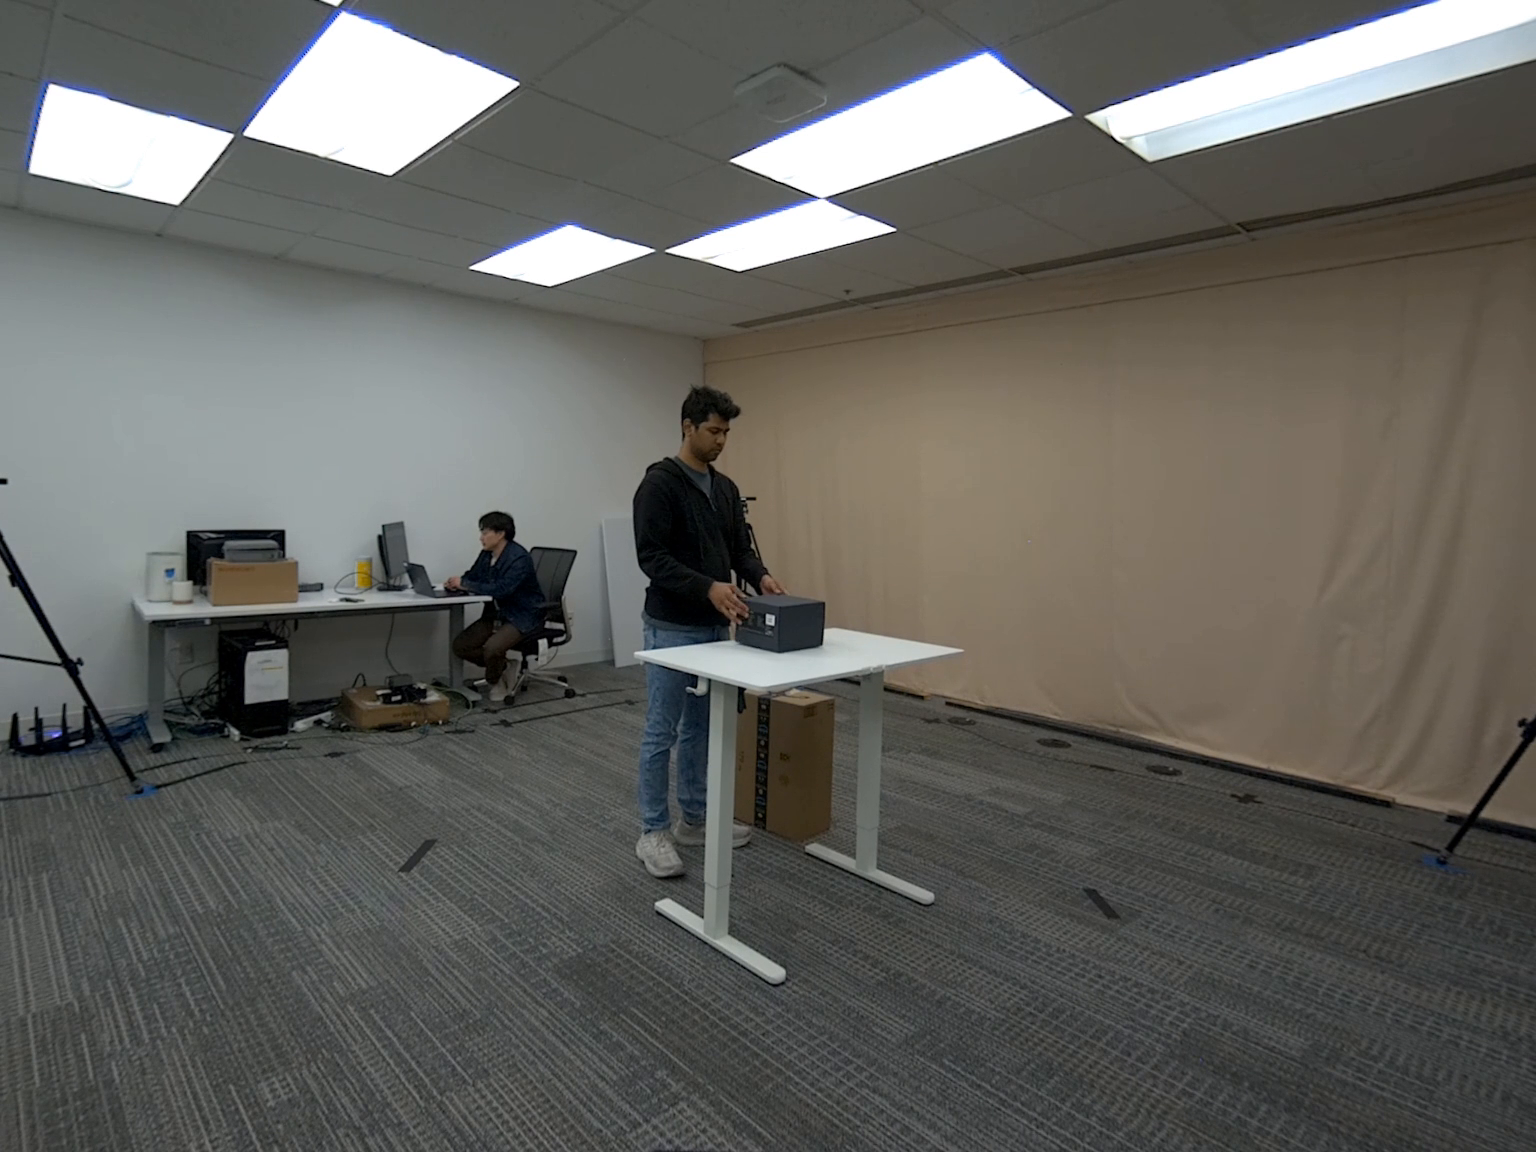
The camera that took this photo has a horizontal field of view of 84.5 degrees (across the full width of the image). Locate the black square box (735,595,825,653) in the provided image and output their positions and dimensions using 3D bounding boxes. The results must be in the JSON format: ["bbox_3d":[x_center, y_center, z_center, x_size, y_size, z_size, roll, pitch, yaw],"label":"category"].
[{"bbox_3d":[0.050,0.149,2.935,0.223,0.155,0.222,-3,7,-44],"label":"black square box"}]
